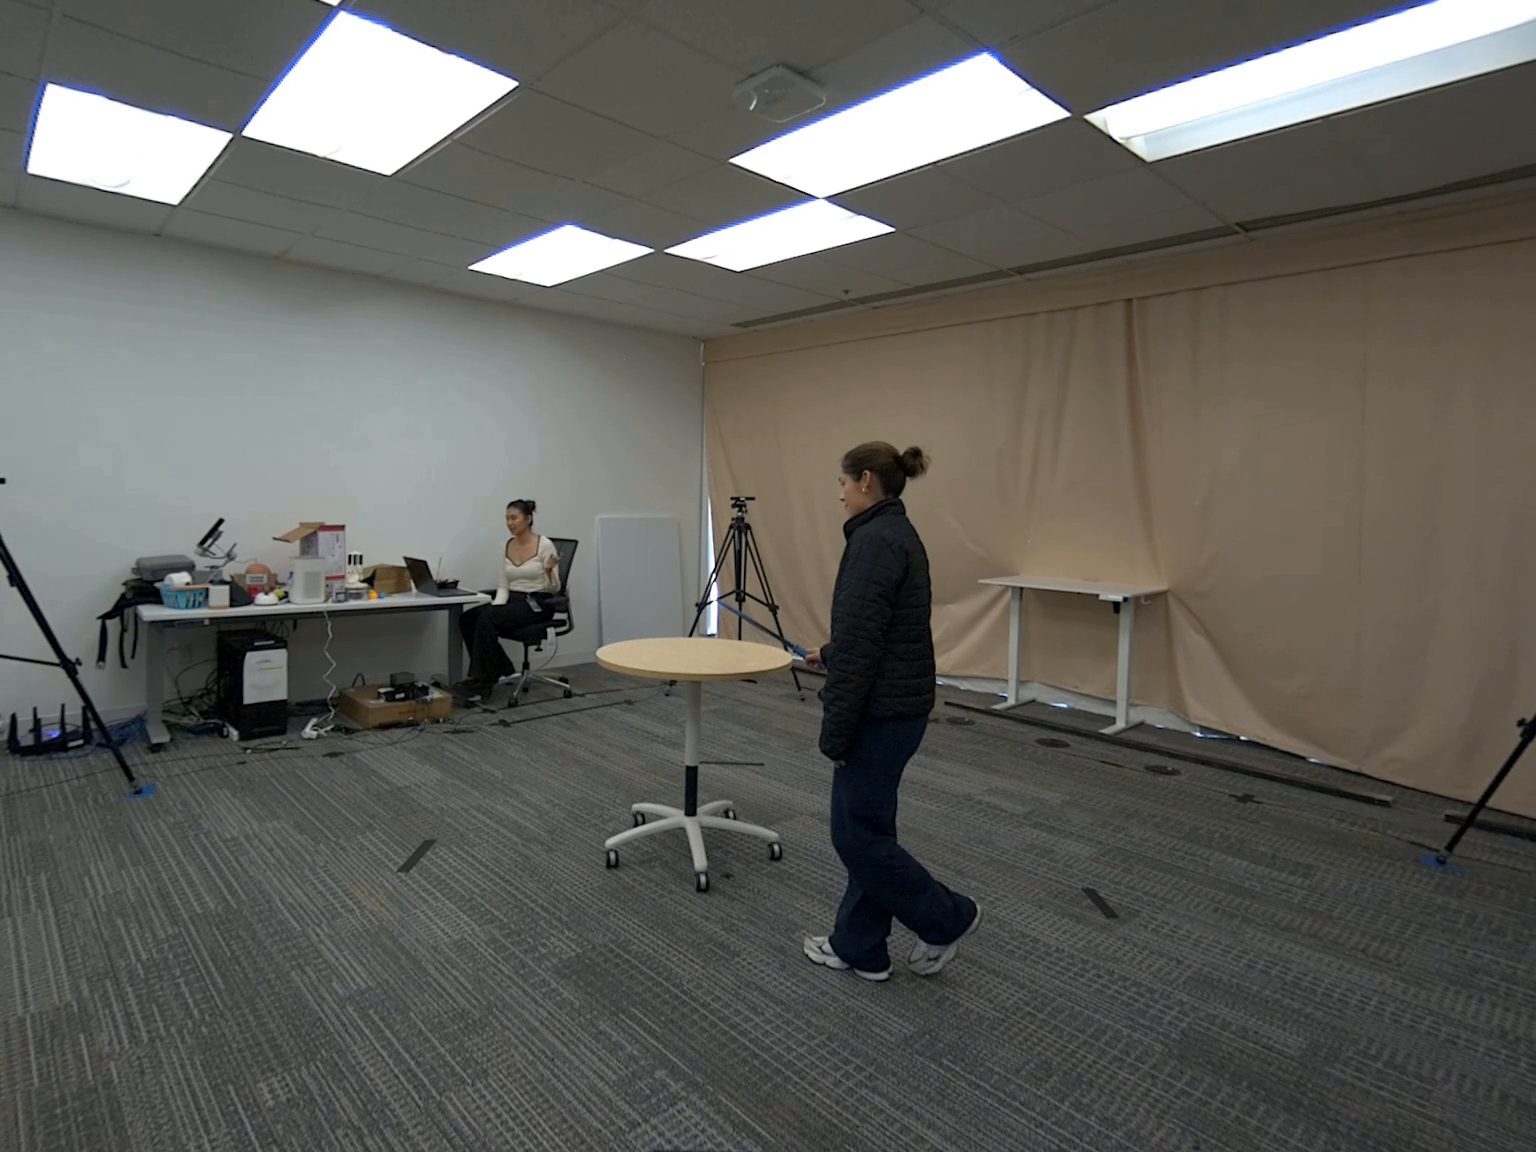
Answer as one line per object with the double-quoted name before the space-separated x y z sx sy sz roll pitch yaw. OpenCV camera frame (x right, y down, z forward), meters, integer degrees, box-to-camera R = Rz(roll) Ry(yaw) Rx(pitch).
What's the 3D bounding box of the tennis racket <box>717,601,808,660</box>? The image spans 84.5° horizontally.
"tennis racket" -0.005 0.185 2.786 0.442 0.032 0.209 32 -5 20
